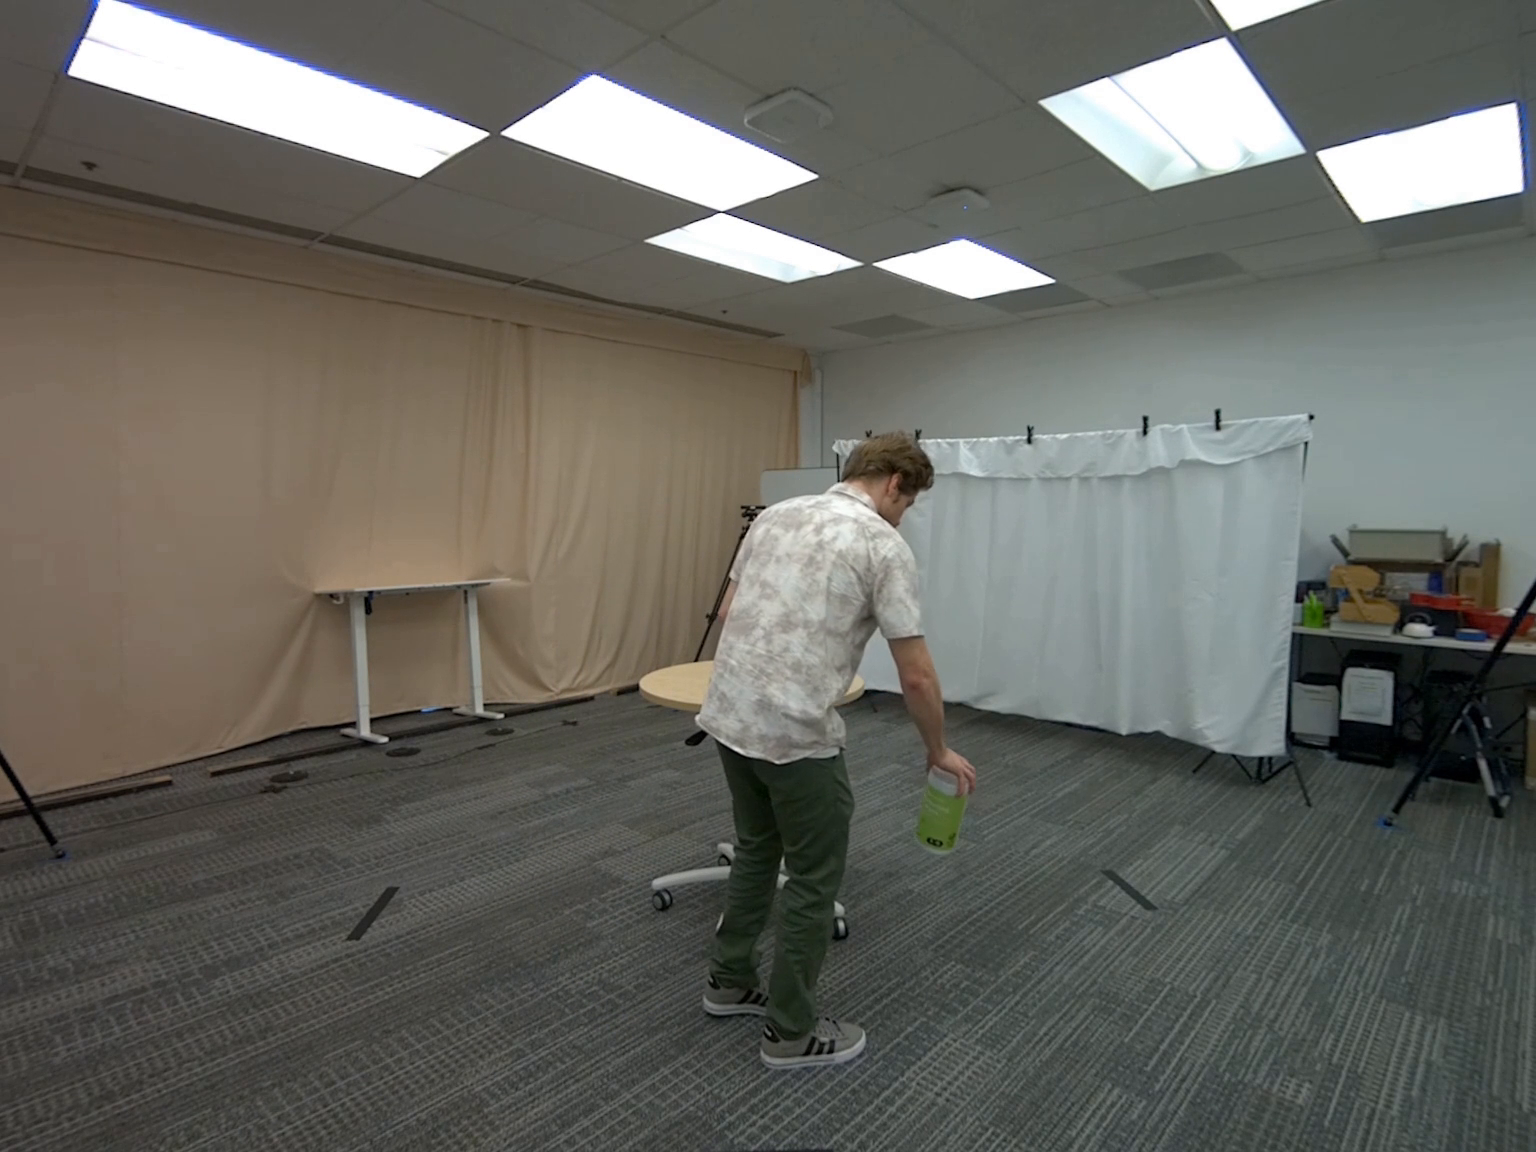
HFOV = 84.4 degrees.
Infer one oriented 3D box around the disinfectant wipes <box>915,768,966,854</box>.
[{"bbox_3d":[0.469,0.621,2.224,0.117,0.216,0.119,6,16,-4],"label":"disinfectant wipes"}]
